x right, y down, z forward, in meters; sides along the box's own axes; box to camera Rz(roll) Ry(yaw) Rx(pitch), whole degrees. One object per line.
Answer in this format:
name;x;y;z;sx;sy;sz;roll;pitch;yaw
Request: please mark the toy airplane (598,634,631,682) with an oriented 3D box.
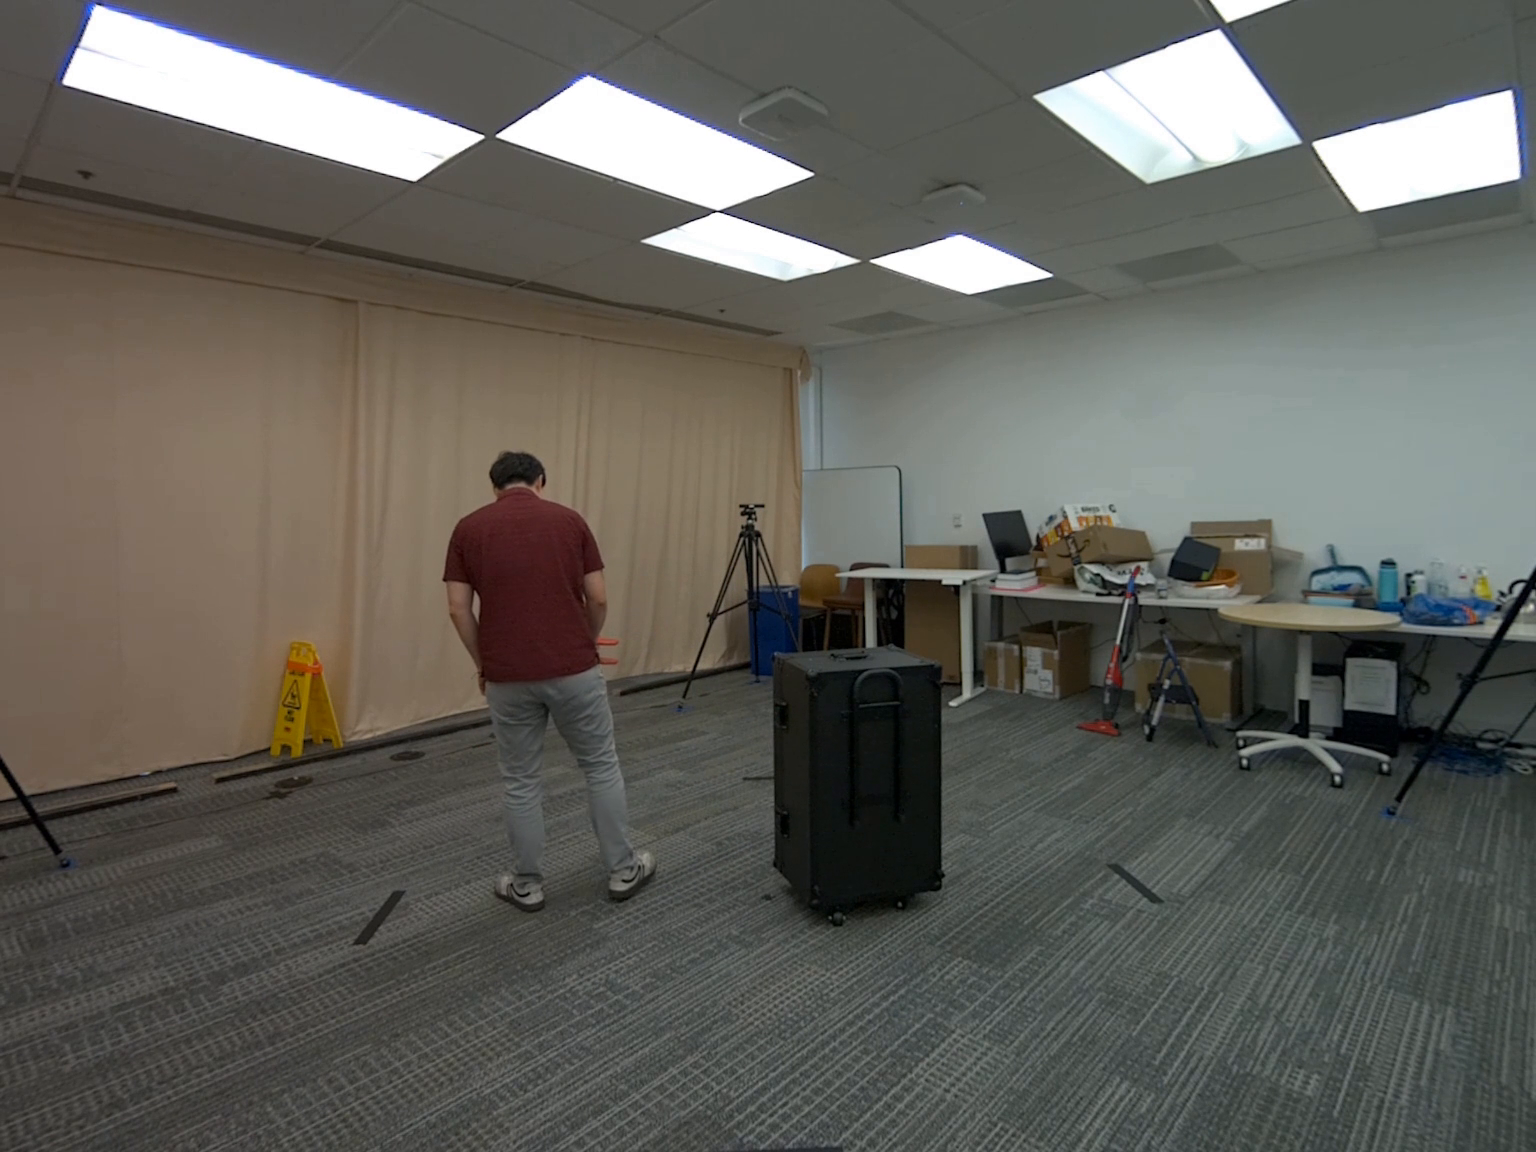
toy airplane;-0.705;0.313;3.293;0.244;0.157;0.264;9;-14;-27
